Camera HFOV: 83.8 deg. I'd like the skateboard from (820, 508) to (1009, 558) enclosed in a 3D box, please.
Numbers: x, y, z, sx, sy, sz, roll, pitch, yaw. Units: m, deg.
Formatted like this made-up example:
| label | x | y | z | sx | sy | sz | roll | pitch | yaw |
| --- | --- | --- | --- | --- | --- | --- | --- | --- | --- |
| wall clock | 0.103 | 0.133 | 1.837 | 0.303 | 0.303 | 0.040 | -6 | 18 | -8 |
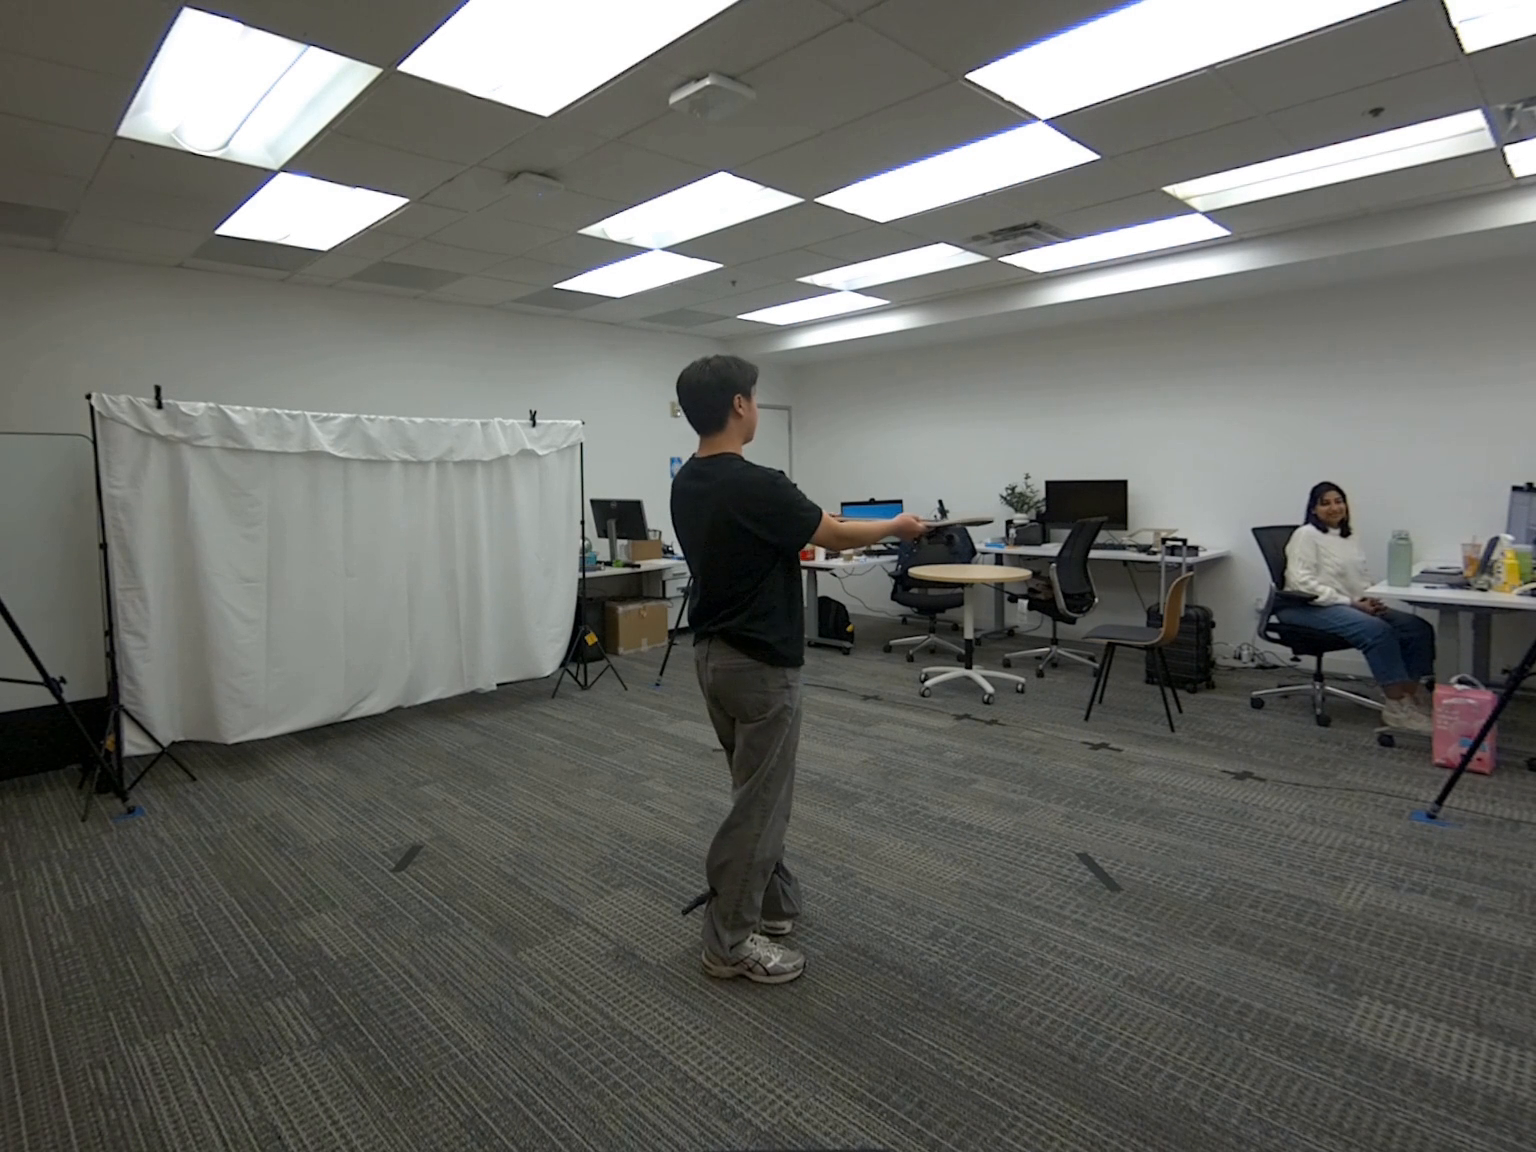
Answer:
| label | x | y | z | sx | sy | sz | roll | pitch | yaw |
| --- | --- | --- | --- | --- | --- | --- | --- | --- | --- |
| skateboard | 0.403 | -0.156 | 2.860 | 0.188 | 0.110 | 0.810 | -5 | 8 | -37 |
